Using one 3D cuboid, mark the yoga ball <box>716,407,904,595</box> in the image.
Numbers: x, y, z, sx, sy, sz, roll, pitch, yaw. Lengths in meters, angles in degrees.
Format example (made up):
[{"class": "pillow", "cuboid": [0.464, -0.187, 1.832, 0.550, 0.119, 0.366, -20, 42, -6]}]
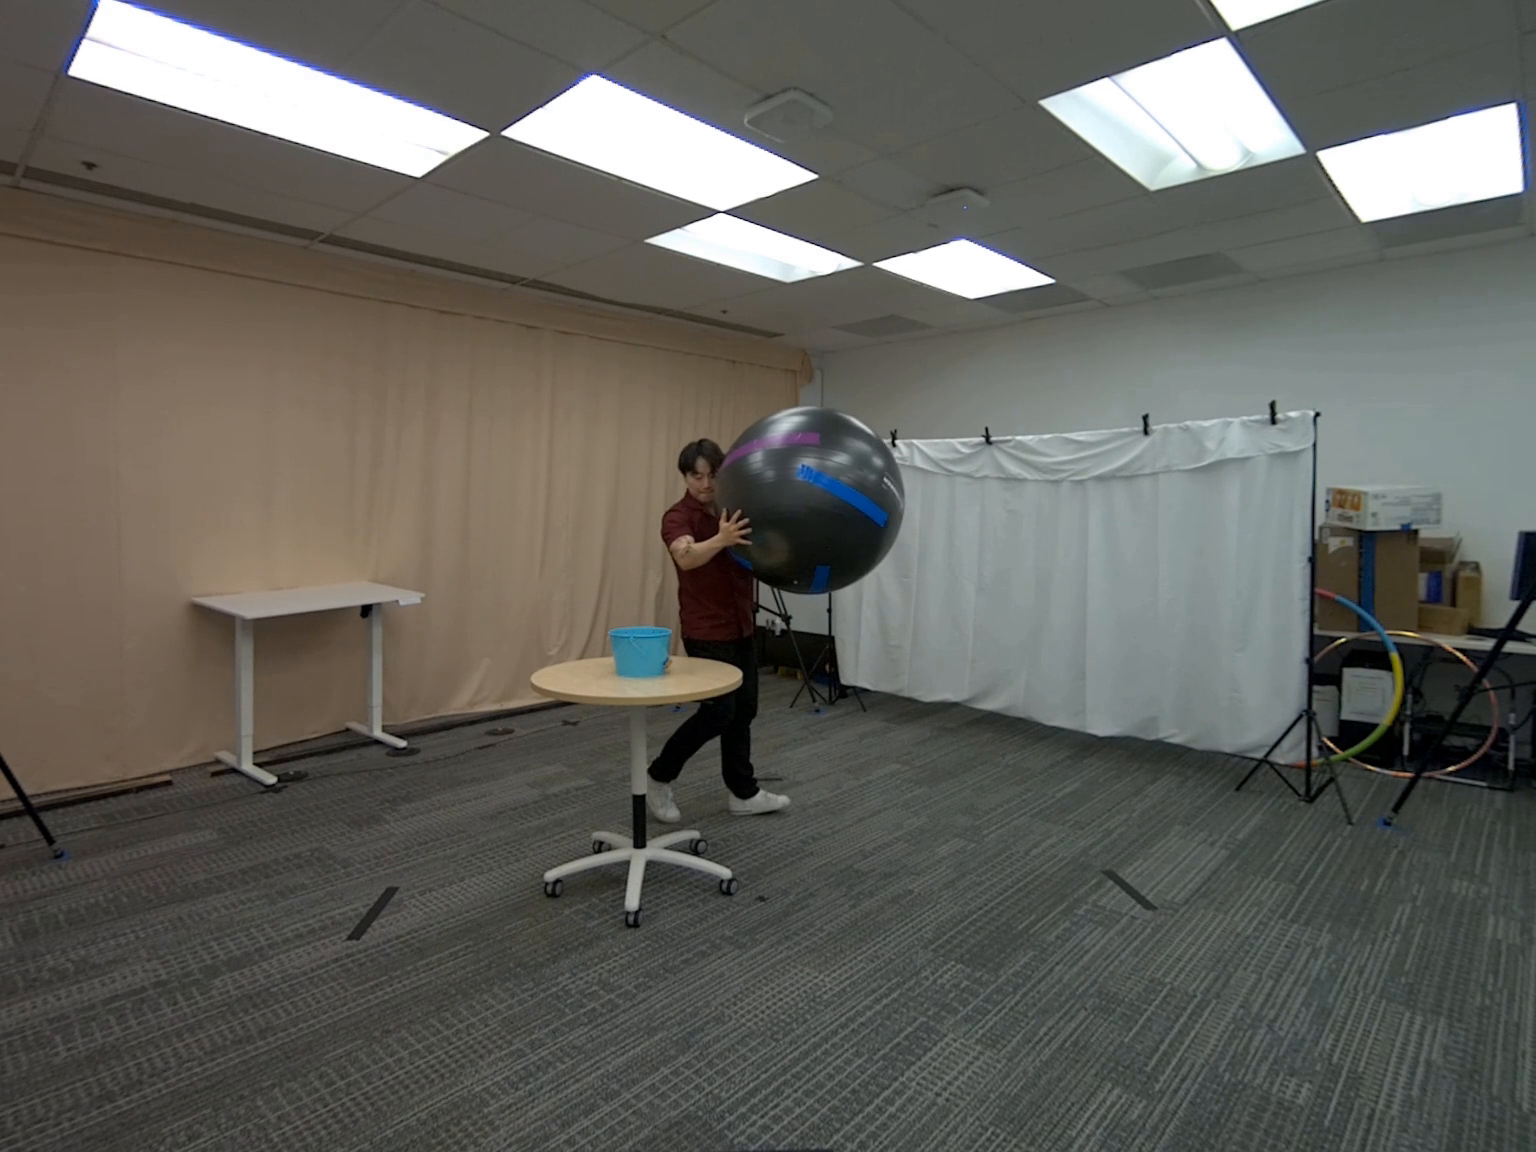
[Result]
[{"class": "yoga ball", "cuboid": [0.164, -0.296, 3.411, 0.757, 0.756, 0.761, 0, 4, -2]}]
